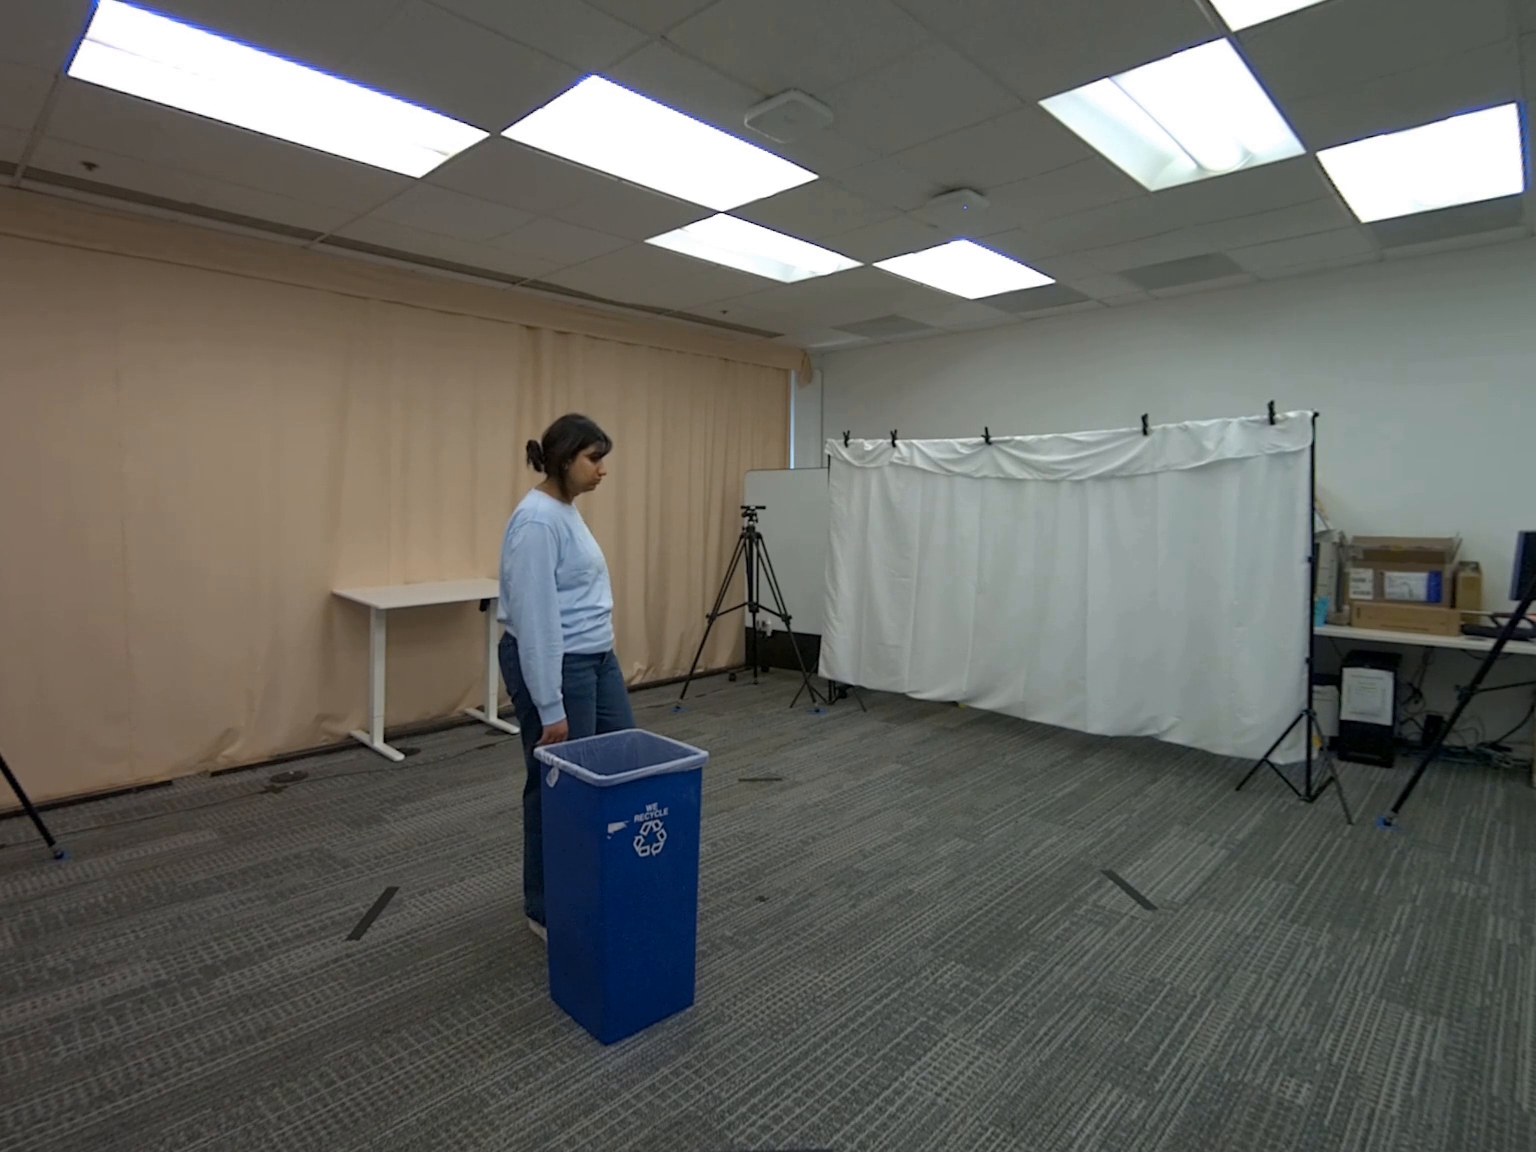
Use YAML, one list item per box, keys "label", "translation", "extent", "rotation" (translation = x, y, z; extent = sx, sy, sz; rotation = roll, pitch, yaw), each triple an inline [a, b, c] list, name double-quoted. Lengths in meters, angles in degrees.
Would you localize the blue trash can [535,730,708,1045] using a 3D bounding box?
- label: "blue trash can"
  translation: [-0.399, 0.843, 2.353]
  extent: [0.366, 0.712, 0.386]
  rotation: [-2, 3, -43]
